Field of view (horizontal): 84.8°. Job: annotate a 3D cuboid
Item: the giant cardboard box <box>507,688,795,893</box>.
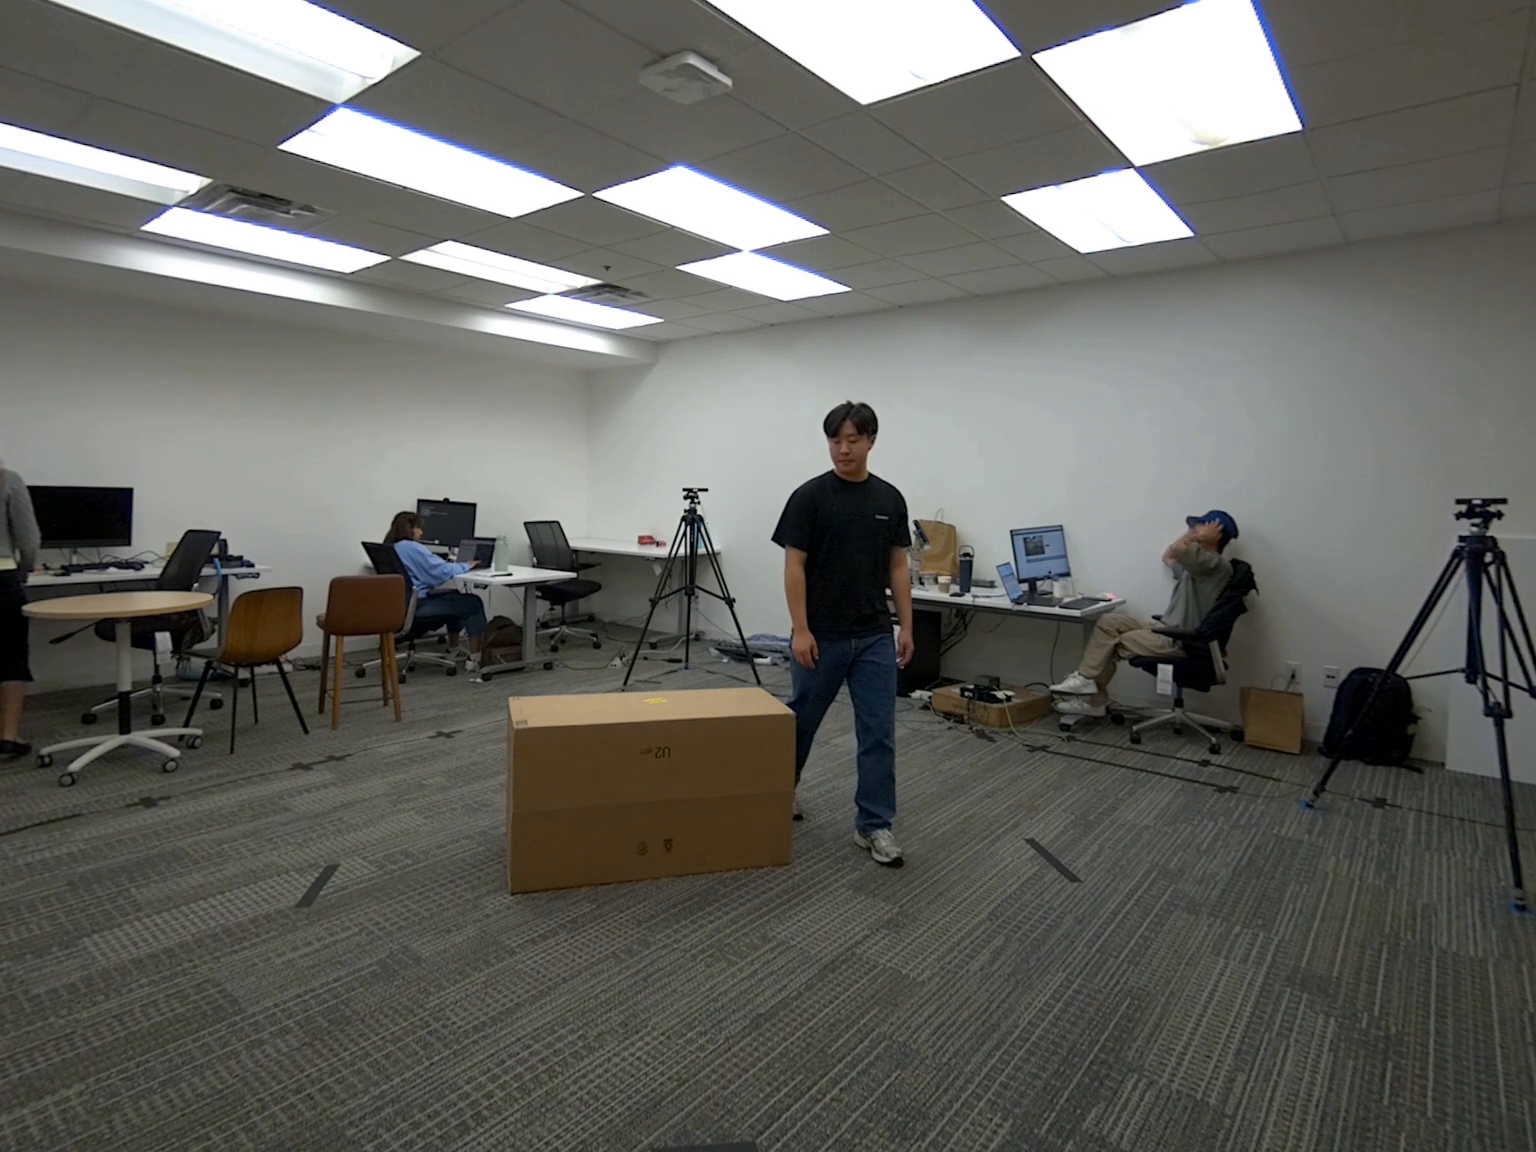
[{"bbox_3d":[-0.463,0.766,3.210,1.009,0.583,0.456,0,3,-17],"label":"giant cardboard box"}]
